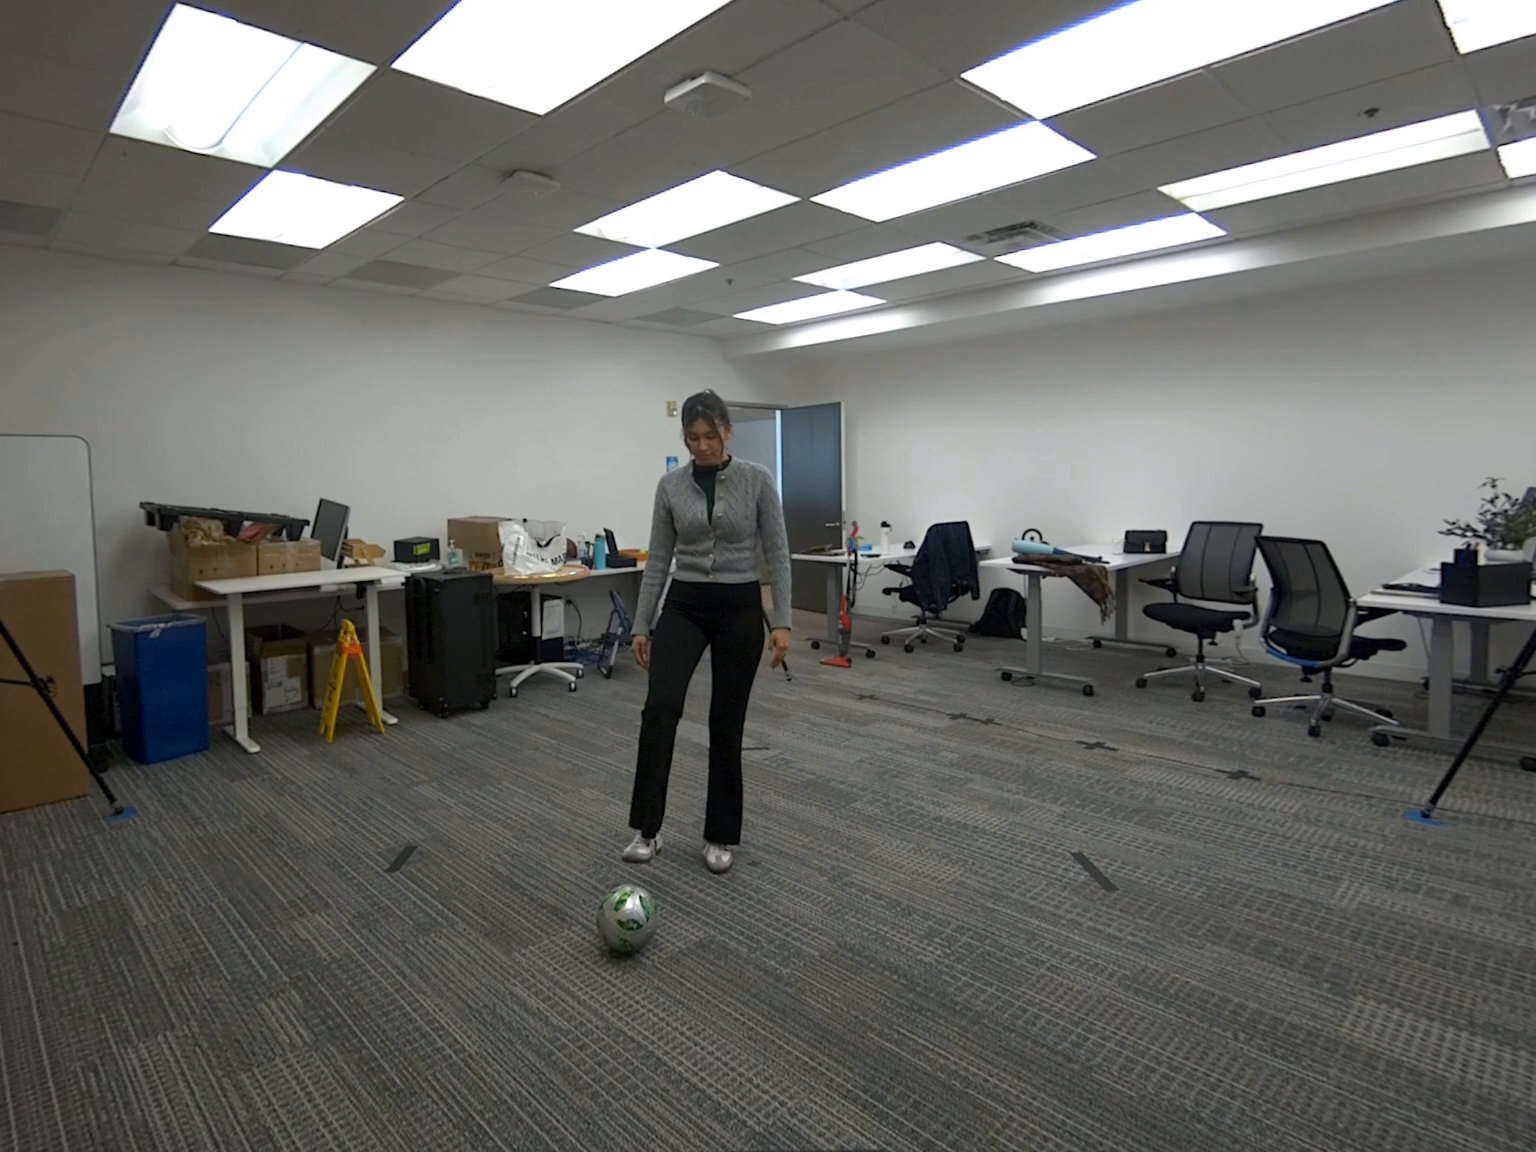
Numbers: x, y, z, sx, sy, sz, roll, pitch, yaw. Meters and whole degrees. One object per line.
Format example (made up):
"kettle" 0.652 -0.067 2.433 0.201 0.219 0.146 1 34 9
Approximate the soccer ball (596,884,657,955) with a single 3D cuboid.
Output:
"soccer ball" -0.416 1.027 2.558 0.187 0.187 0.188 -1 5 -2
